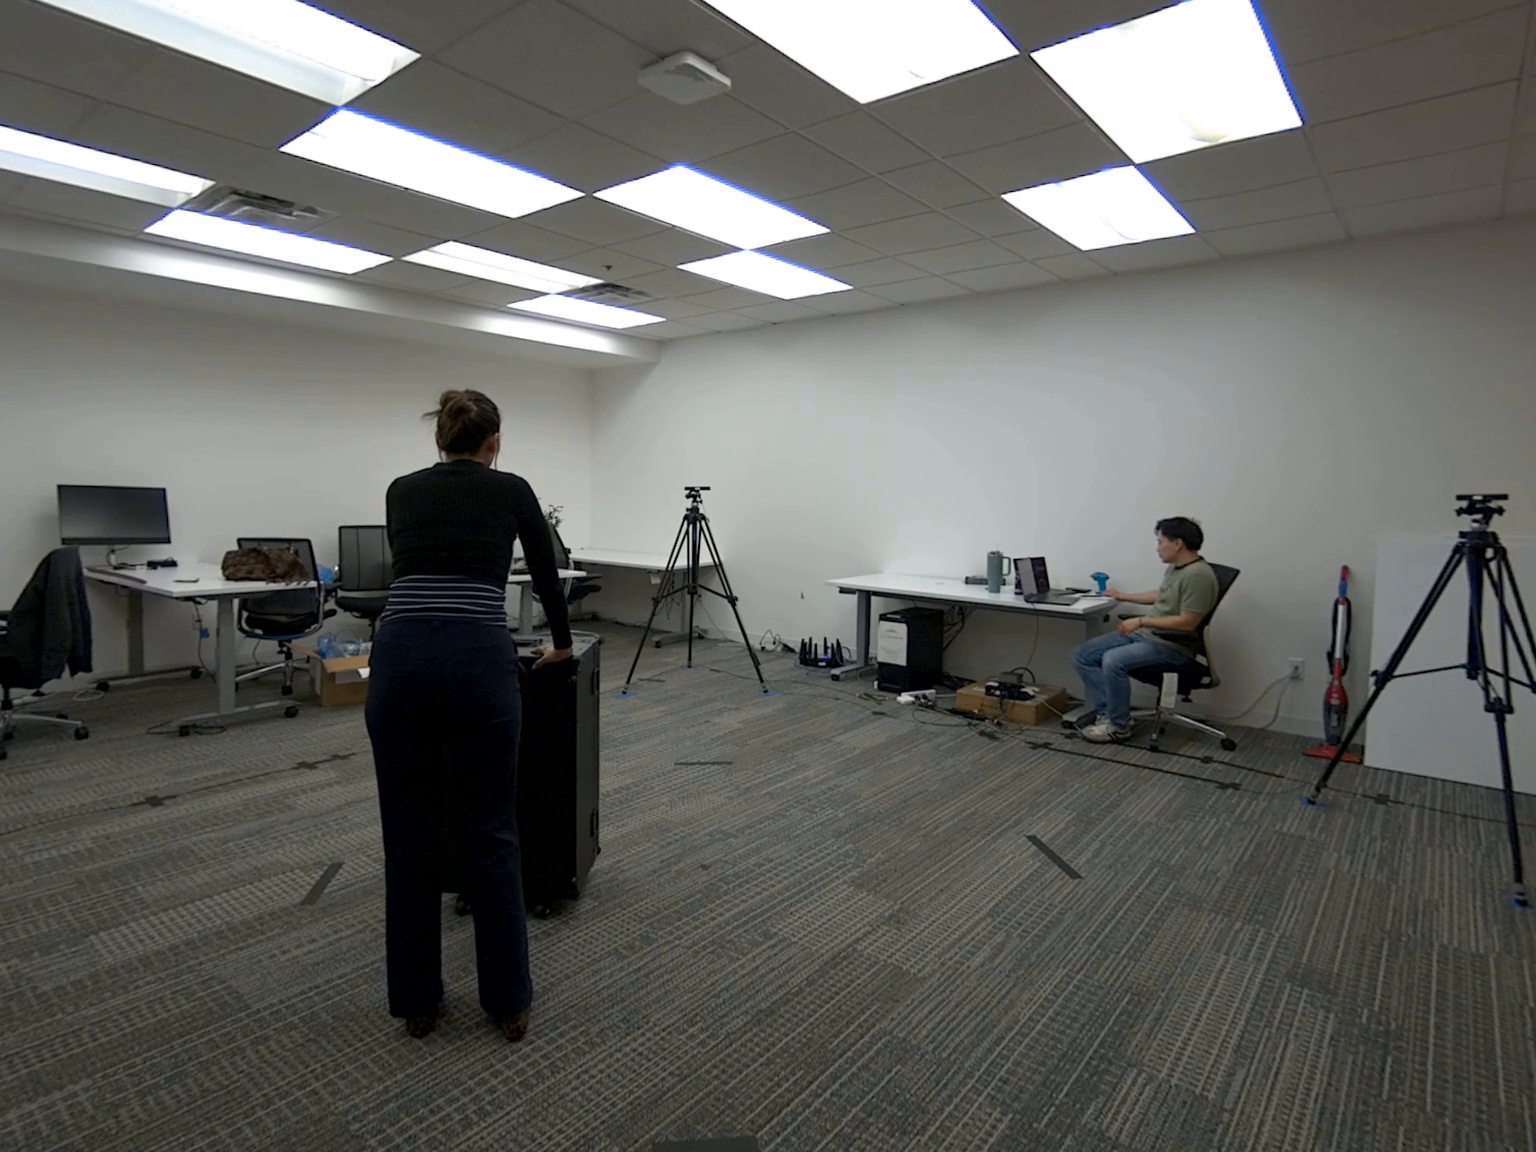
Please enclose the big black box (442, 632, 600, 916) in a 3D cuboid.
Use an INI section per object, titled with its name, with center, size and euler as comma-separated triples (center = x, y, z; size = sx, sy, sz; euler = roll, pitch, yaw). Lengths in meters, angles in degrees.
[big black box]
center = -0.846, 0.656, 2.872
size = 0.523, 0.858, 0.396
euler = 1, 4, 3
